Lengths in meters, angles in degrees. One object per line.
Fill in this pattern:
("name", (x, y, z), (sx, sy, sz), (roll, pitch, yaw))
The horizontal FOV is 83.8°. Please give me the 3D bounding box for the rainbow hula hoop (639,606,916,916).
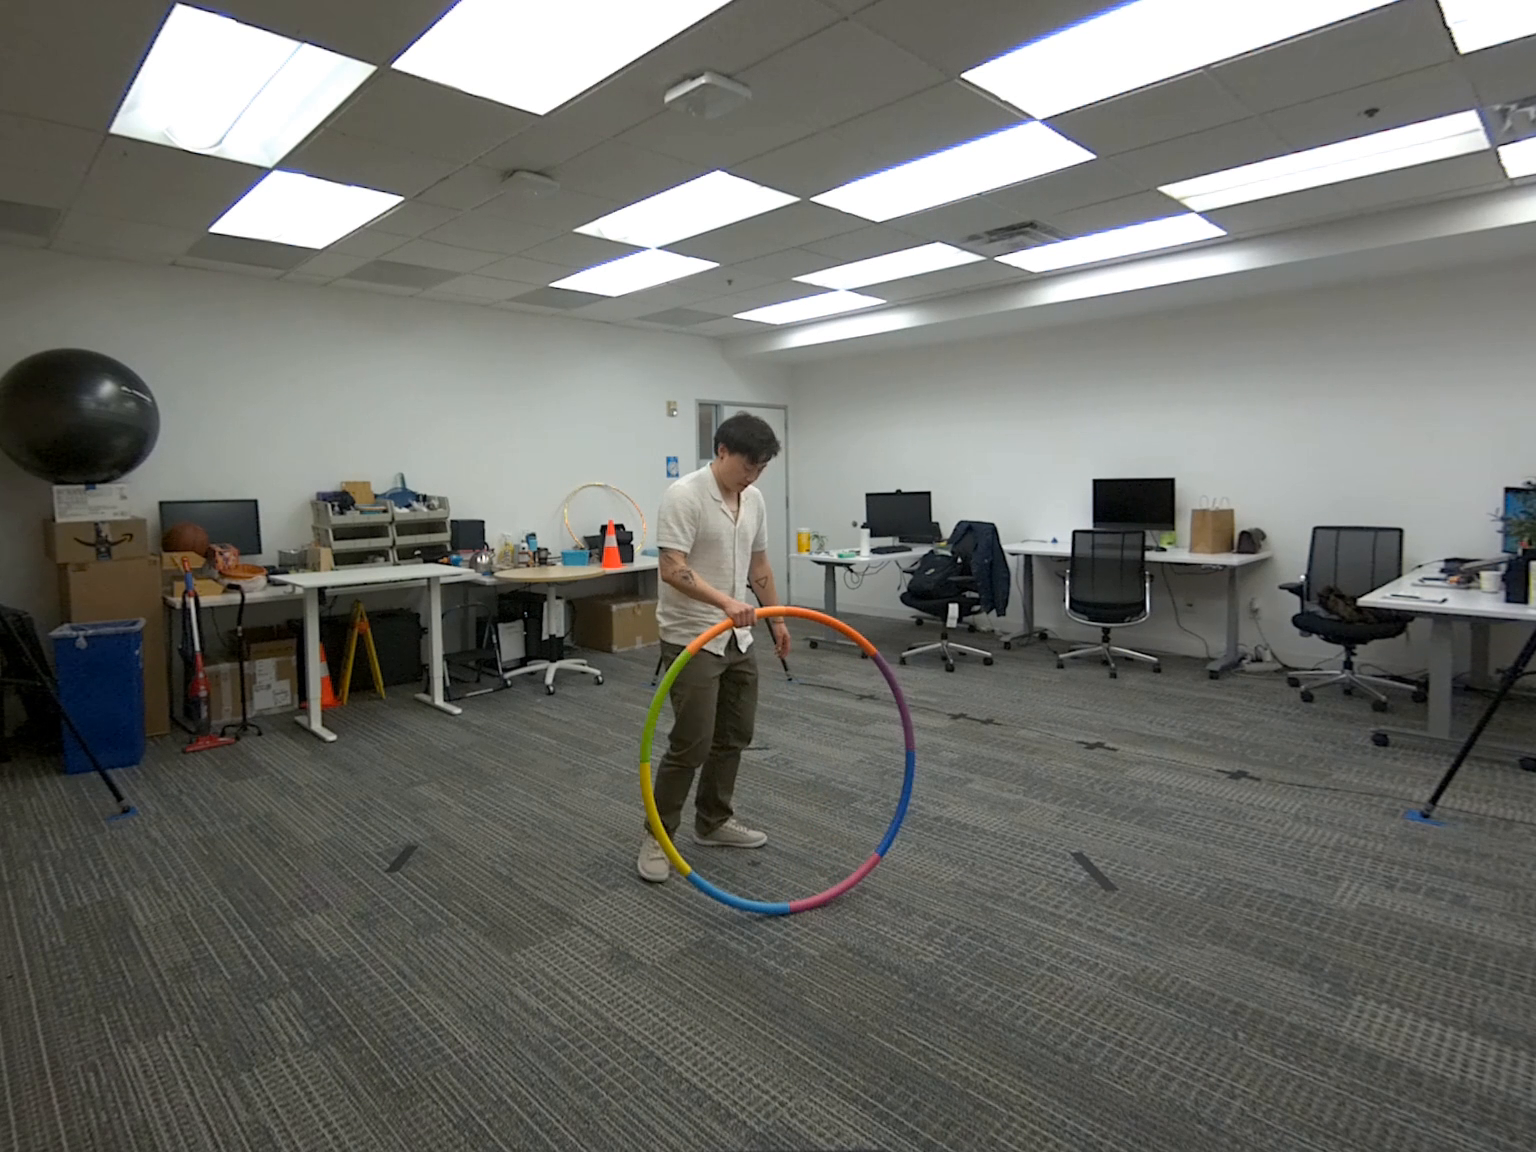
("rainbow hula hoop", (0.055, 0.596, 2.810), (0.960, 0.986, 0.036), (-3, -8, -21))
